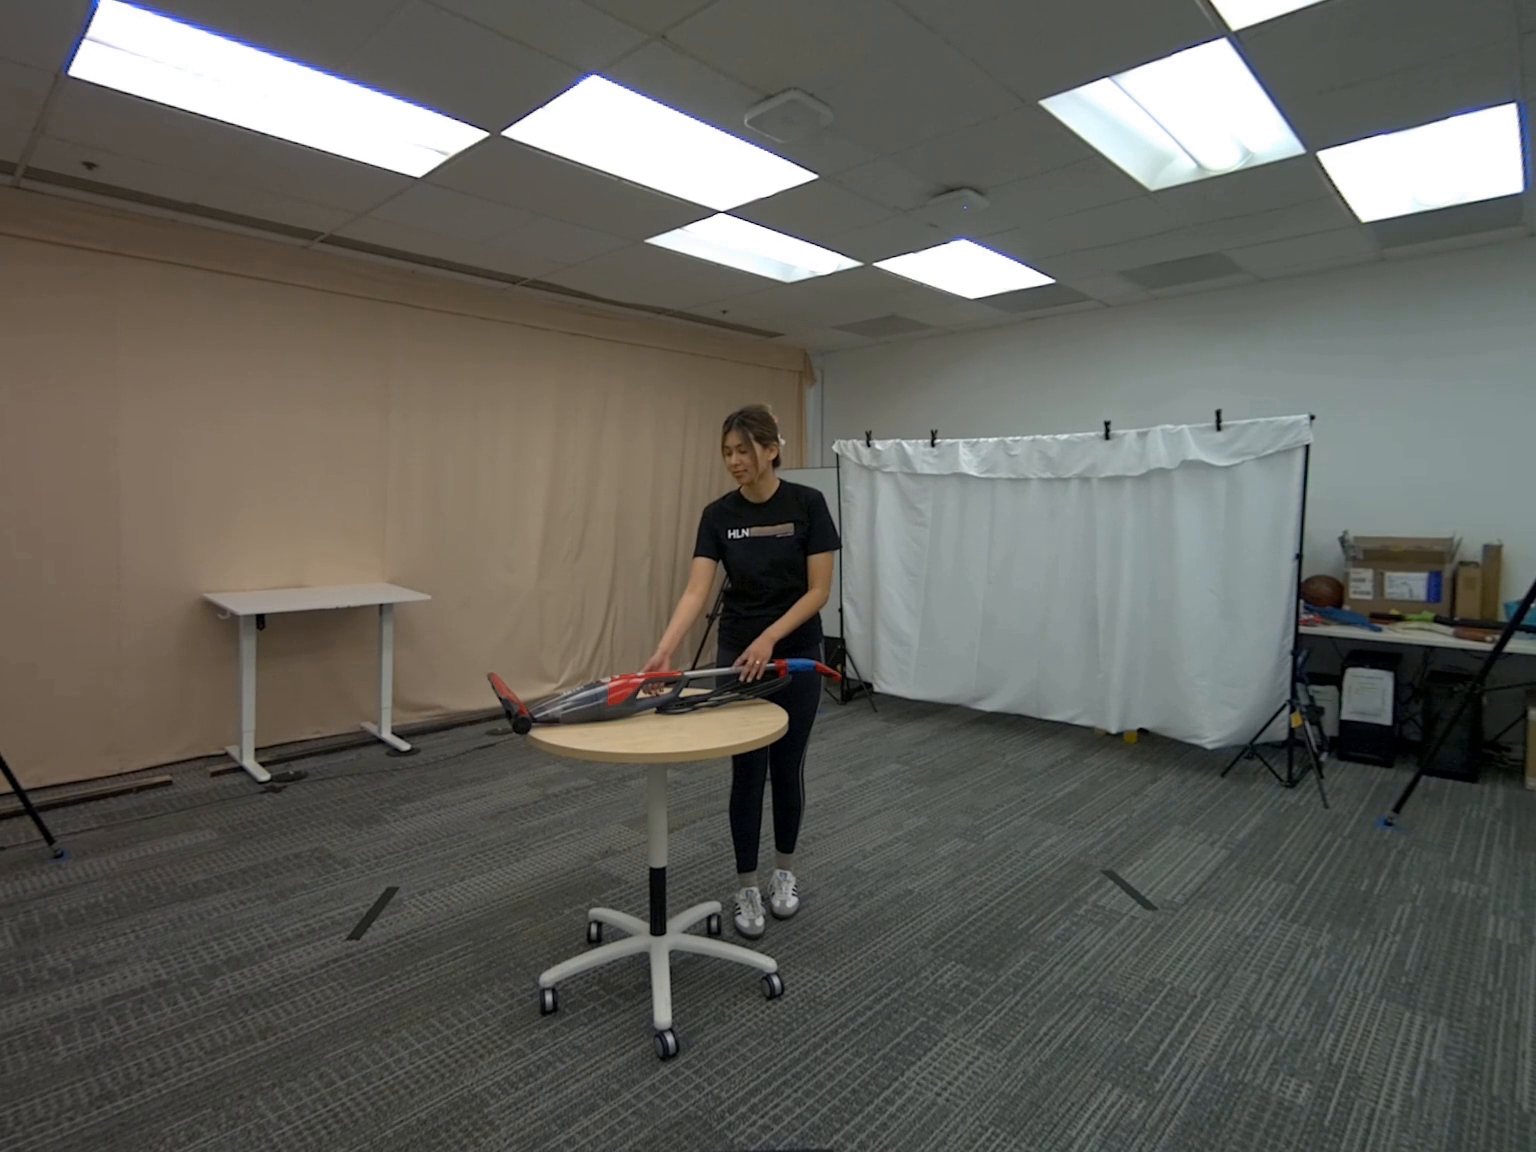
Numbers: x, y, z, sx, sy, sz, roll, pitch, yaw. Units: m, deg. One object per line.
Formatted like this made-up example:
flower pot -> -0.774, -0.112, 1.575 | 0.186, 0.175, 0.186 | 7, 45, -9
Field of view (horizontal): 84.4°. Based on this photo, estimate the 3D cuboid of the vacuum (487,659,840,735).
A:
vacuum -> -0.253, 0.357, 2.480 | 1.026, 0.143, 0.259 | -1, 6, -22
